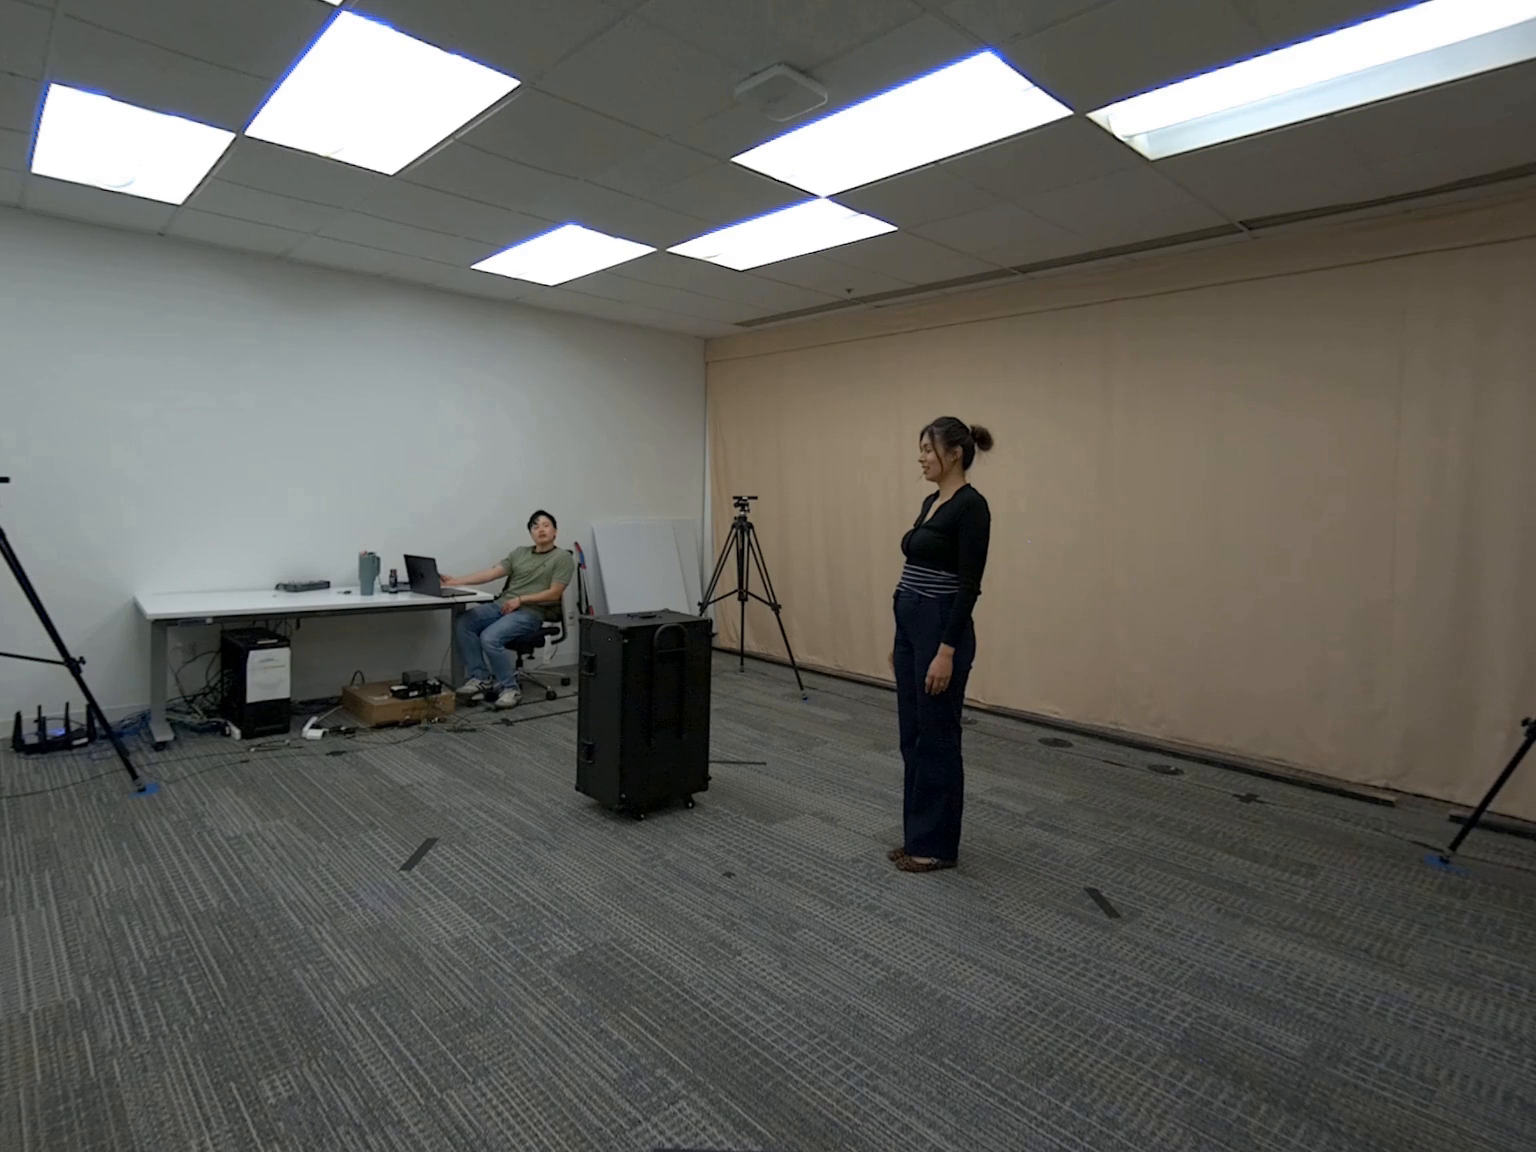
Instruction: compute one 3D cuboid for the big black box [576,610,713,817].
[{"bbox_3d":[-0.548,0.608,3.758,0.509,0.859,0.406,-2,6,-41],"label":"big black box"}]
